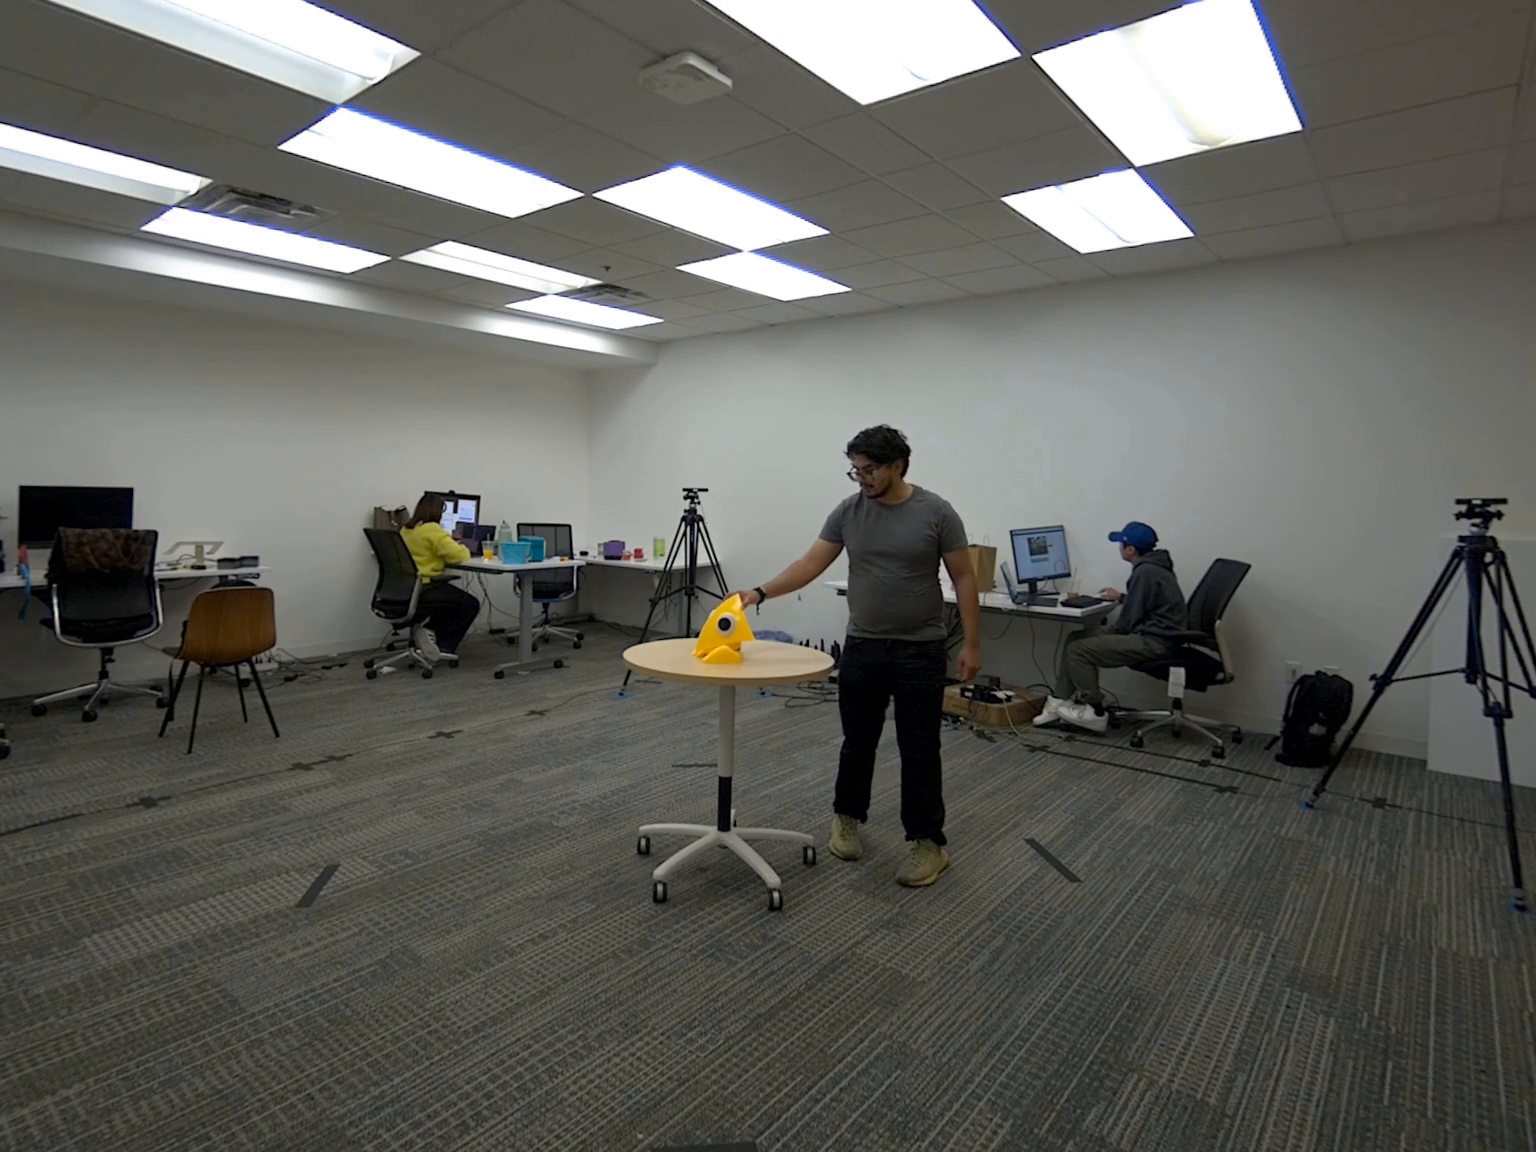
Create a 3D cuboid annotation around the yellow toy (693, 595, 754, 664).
[{"bbox_3d":[-0.176,0.177,3.051,0.189,0.230,0.210,0,4,-22],"label":"yellow toy"}]
